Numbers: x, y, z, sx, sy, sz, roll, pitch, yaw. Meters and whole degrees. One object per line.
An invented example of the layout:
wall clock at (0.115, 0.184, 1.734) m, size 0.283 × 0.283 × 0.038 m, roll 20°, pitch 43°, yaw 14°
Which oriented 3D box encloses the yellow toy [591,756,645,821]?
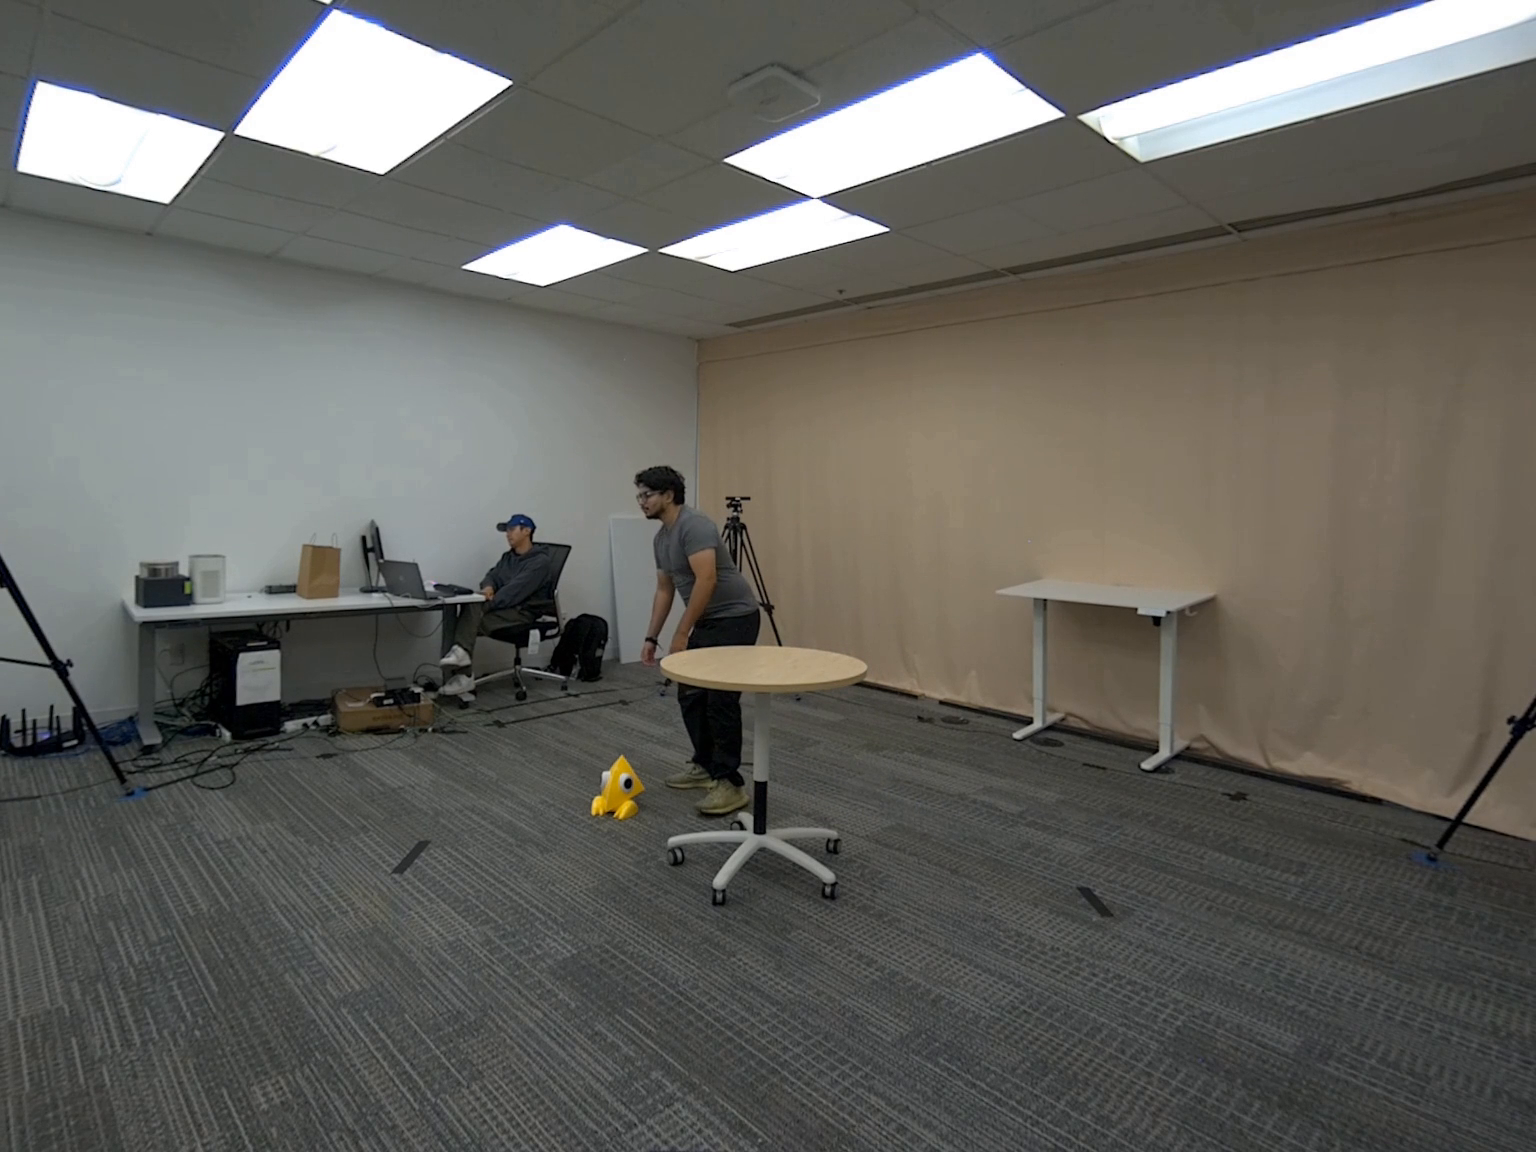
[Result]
yellow toy at (-0.685, 0.927, 3.729) m, size 0.207 × 0.230 × 0.191 m, roll 2°, pitch 2°, yaw 15°
